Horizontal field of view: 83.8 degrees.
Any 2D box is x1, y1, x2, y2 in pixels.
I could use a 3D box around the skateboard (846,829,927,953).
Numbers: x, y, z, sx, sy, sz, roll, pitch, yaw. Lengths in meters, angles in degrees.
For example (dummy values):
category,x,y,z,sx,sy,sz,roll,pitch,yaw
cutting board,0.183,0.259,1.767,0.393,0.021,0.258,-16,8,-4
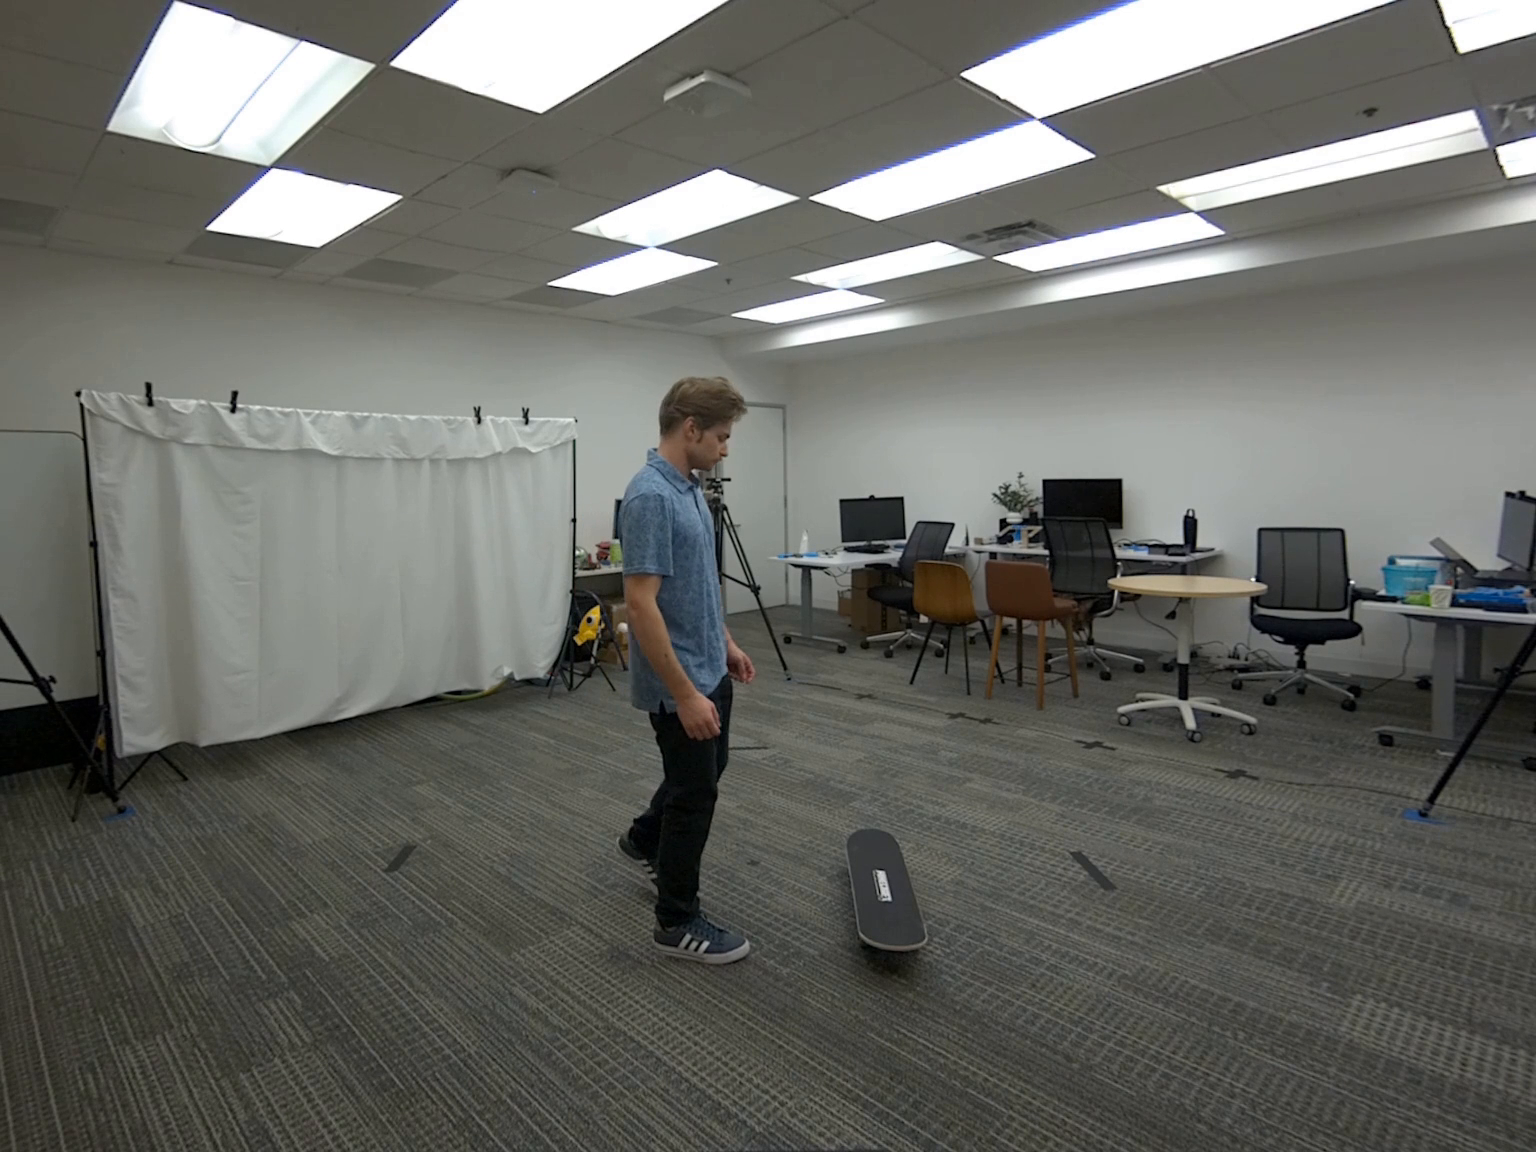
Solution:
category,x,y,z,sx,sy,sz,roll,pitch,yaw
skateboard,0.373,1.022,2.735,0.194,0.110,0.787,0,7,1
